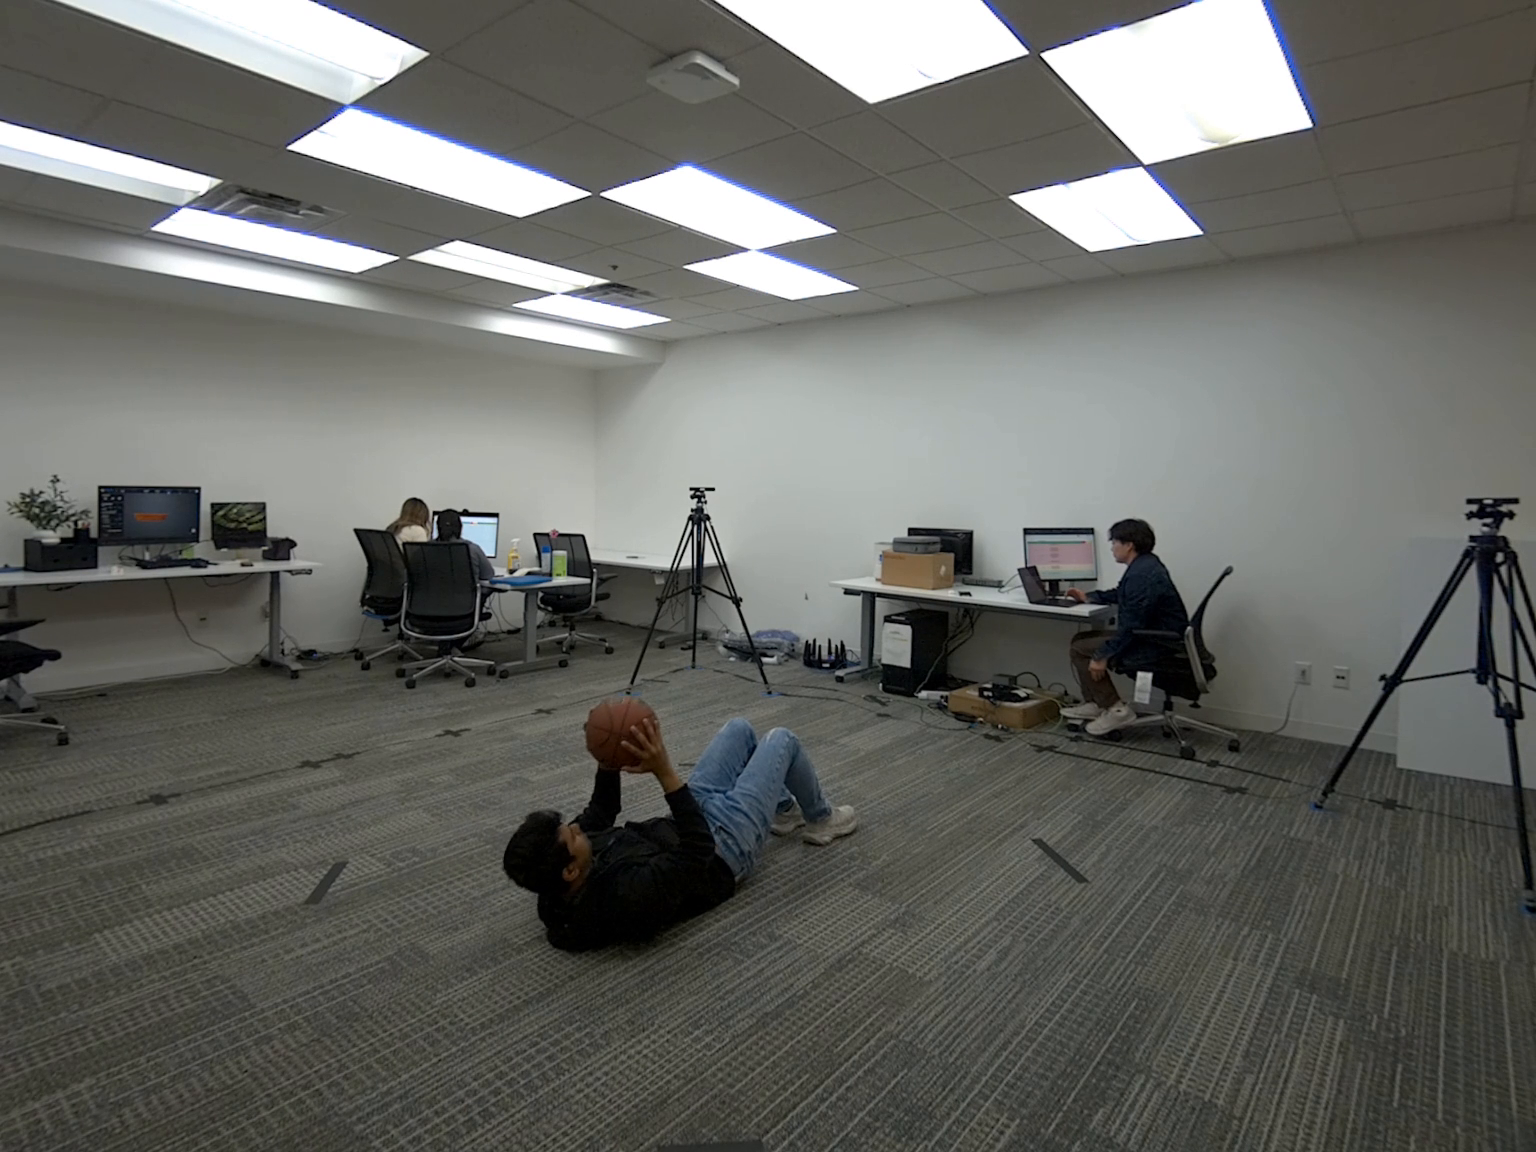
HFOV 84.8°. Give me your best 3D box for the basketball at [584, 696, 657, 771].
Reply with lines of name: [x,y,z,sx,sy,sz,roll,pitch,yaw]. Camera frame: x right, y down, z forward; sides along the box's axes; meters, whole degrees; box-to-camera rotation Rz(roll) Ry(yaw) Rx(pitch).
basketball: [-0.474,0.506,2.734,0.235,0.235,0.237,1,4,-2]
